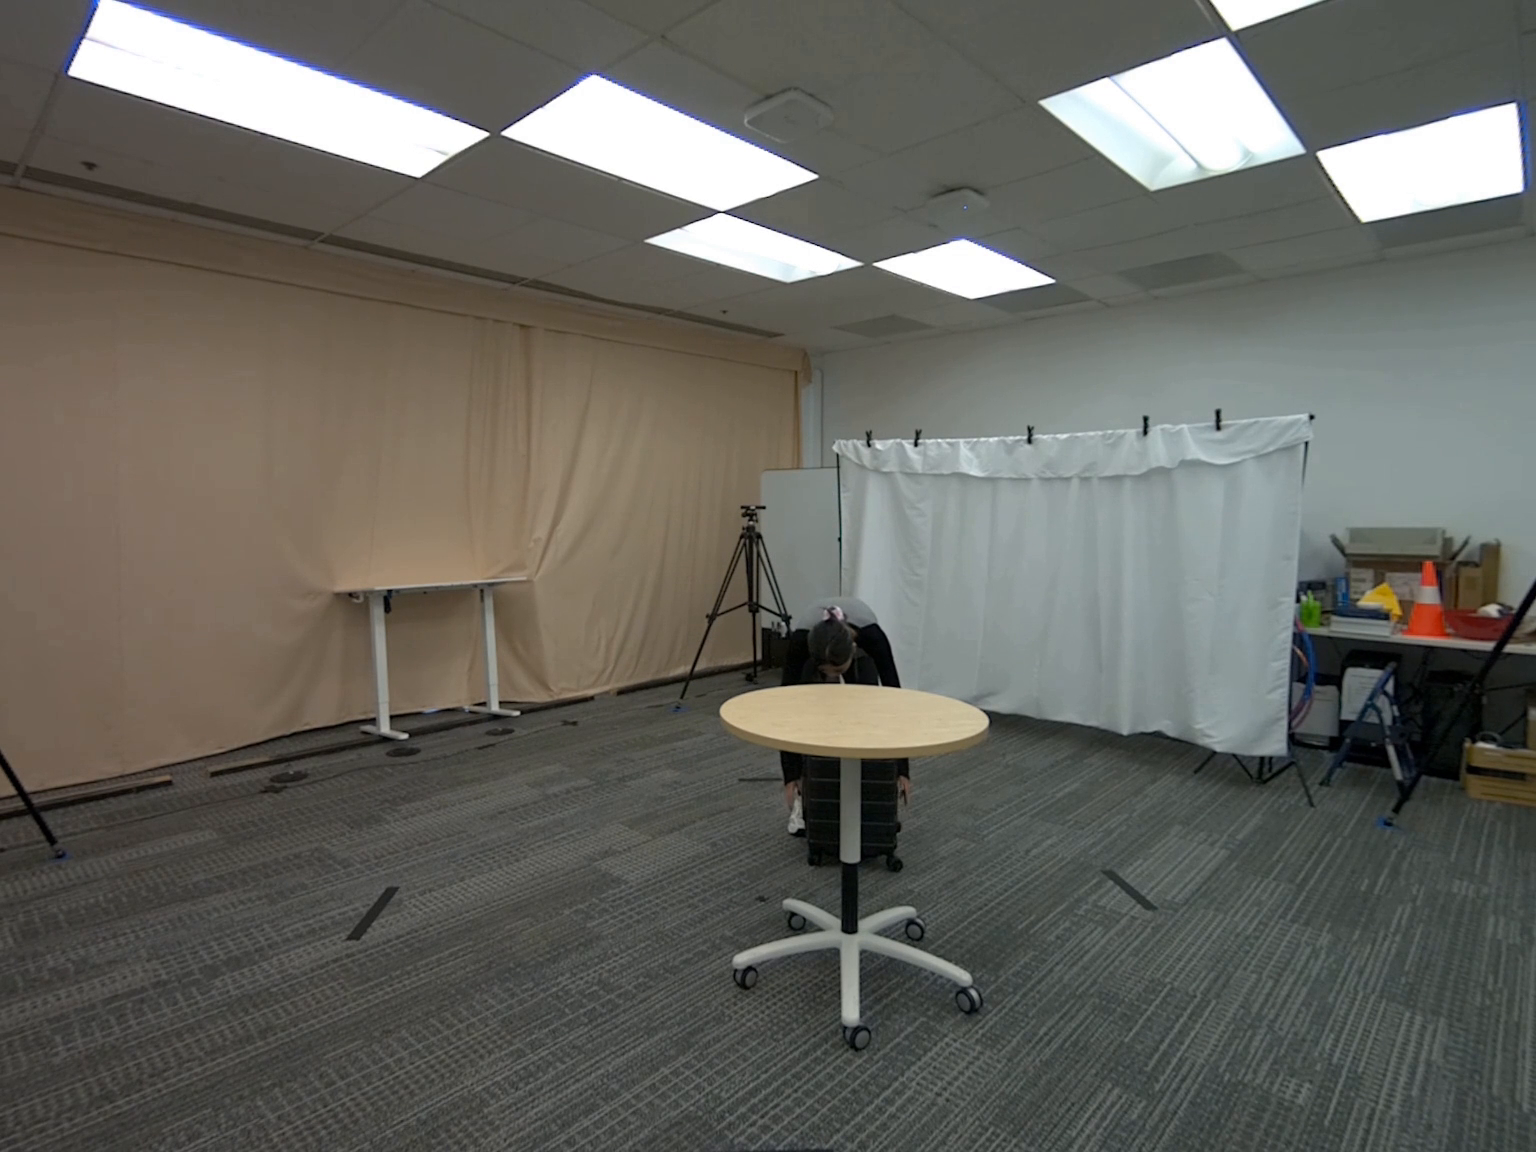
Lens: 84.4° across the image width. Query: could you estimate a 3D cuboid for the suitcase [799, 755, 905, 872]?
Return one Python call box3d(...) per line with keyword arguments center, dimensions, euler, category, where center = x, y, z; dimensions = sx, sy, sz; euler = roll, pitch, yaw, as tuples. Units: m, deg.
box3d(center=(0.335, 0.840, 3.326), dimensions=(0.377, 0.548, 0.247), euler=(0, 4, 4), category="suitcase")
